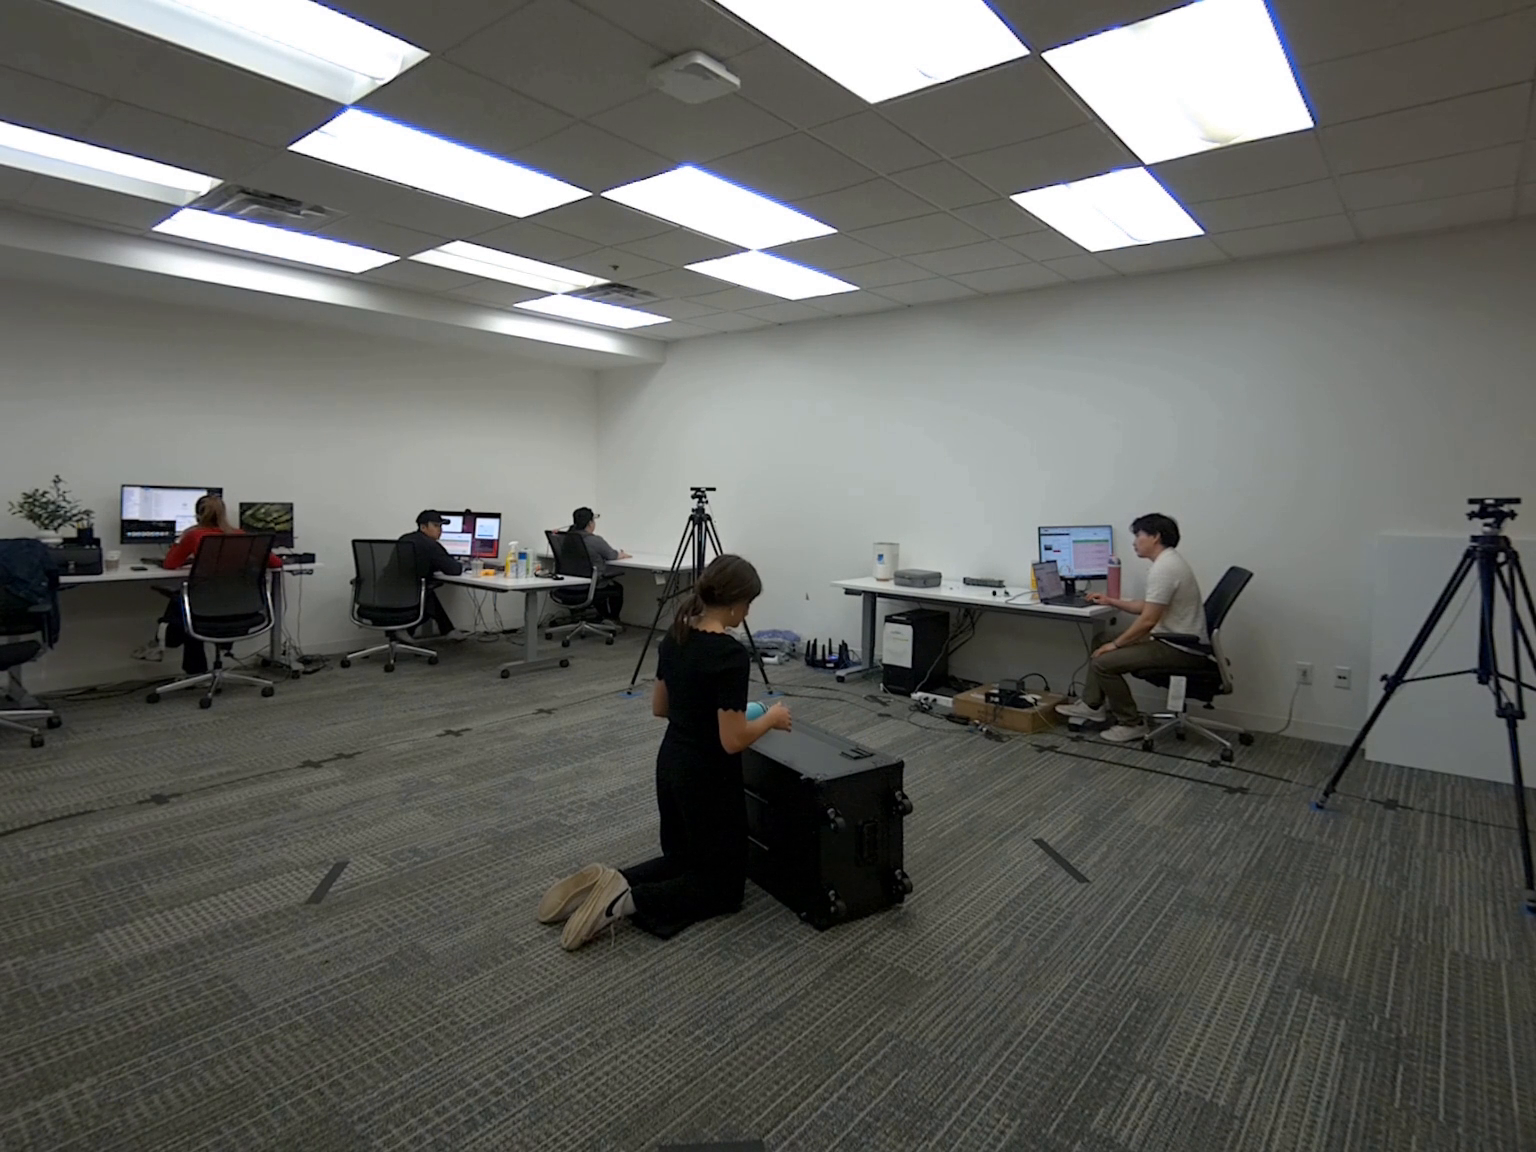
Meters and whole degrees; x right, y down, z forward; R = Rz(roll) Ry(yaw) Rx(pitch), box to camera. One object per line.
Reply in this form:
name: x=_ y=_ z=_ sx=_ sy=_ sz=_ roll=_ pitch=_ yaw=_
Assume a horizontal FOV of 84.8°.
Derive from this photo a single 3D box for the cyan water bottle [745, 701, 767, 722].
cyan water bottle: x=-0.101 y=0.528 z=3.185 sx=0.095 sy=0.092 sz=0.275 roll=5 pitch=9 yaw=42
